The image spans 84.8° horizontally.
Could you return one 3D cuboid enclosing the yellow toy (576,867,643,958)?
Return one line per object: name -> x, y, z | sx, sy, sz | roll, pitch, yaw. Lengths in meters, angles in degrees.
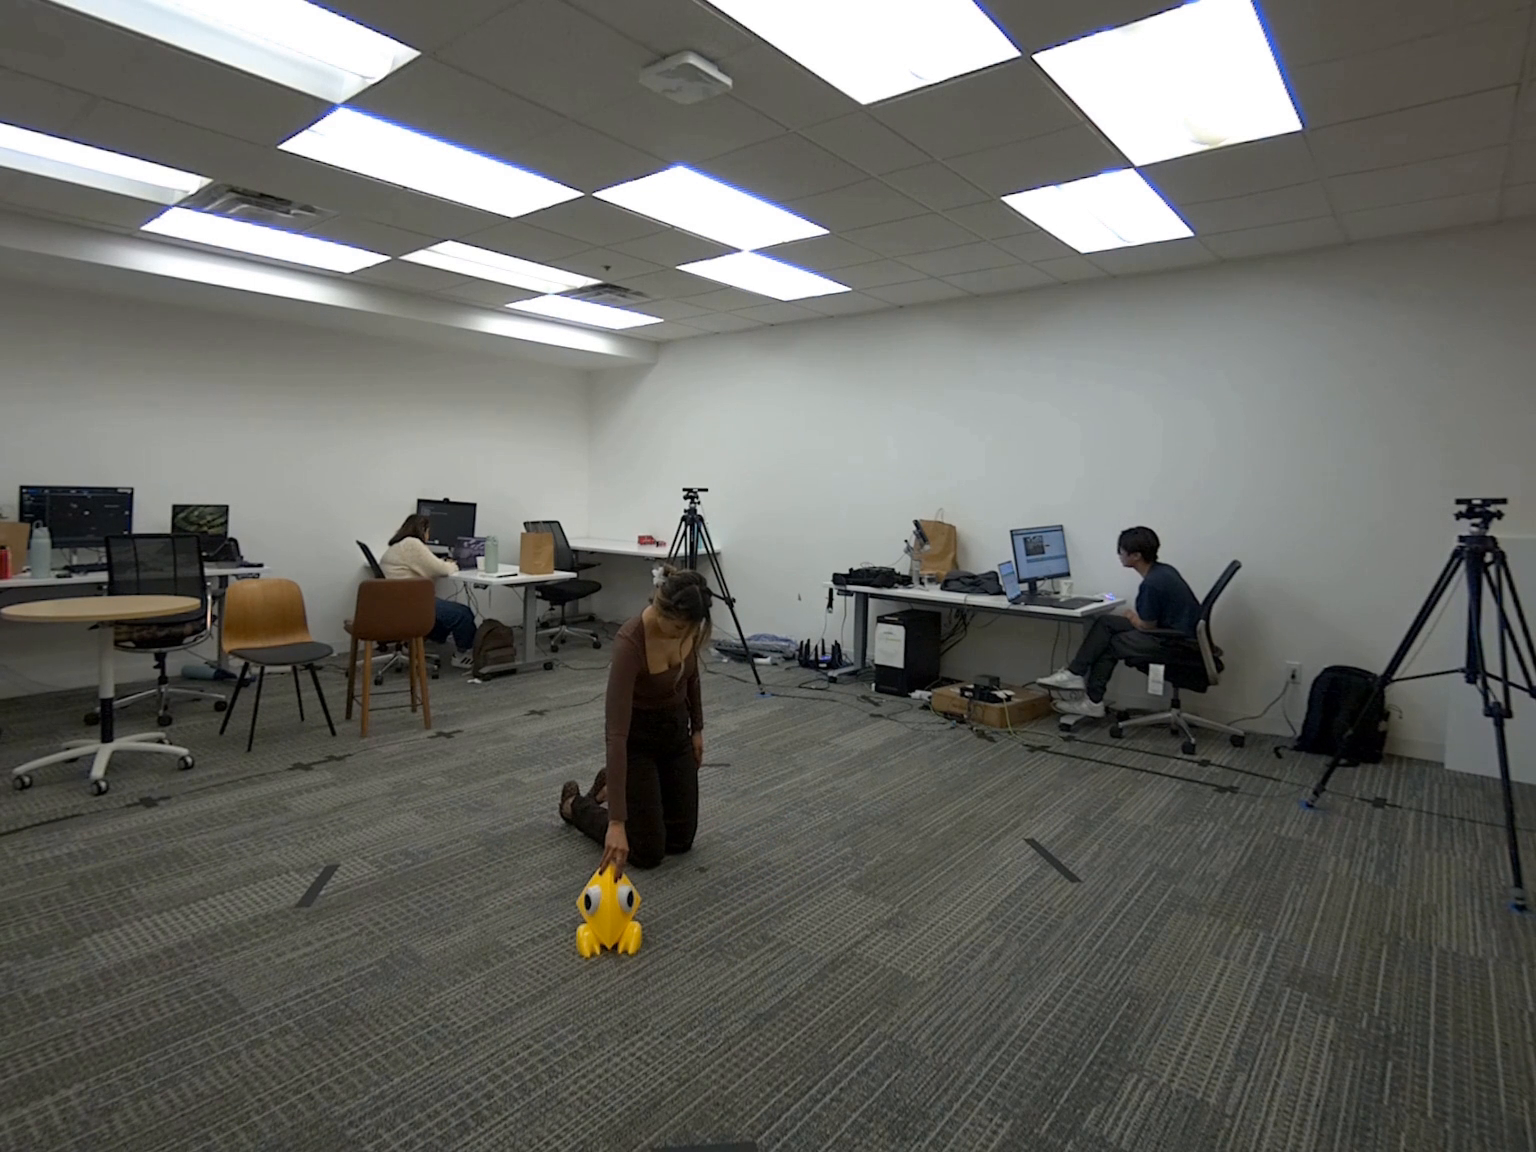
yellow toy -> -0.496, 1.001, 2.602 | 0.203, 0.230, 0.195 | -1, 4, -10
